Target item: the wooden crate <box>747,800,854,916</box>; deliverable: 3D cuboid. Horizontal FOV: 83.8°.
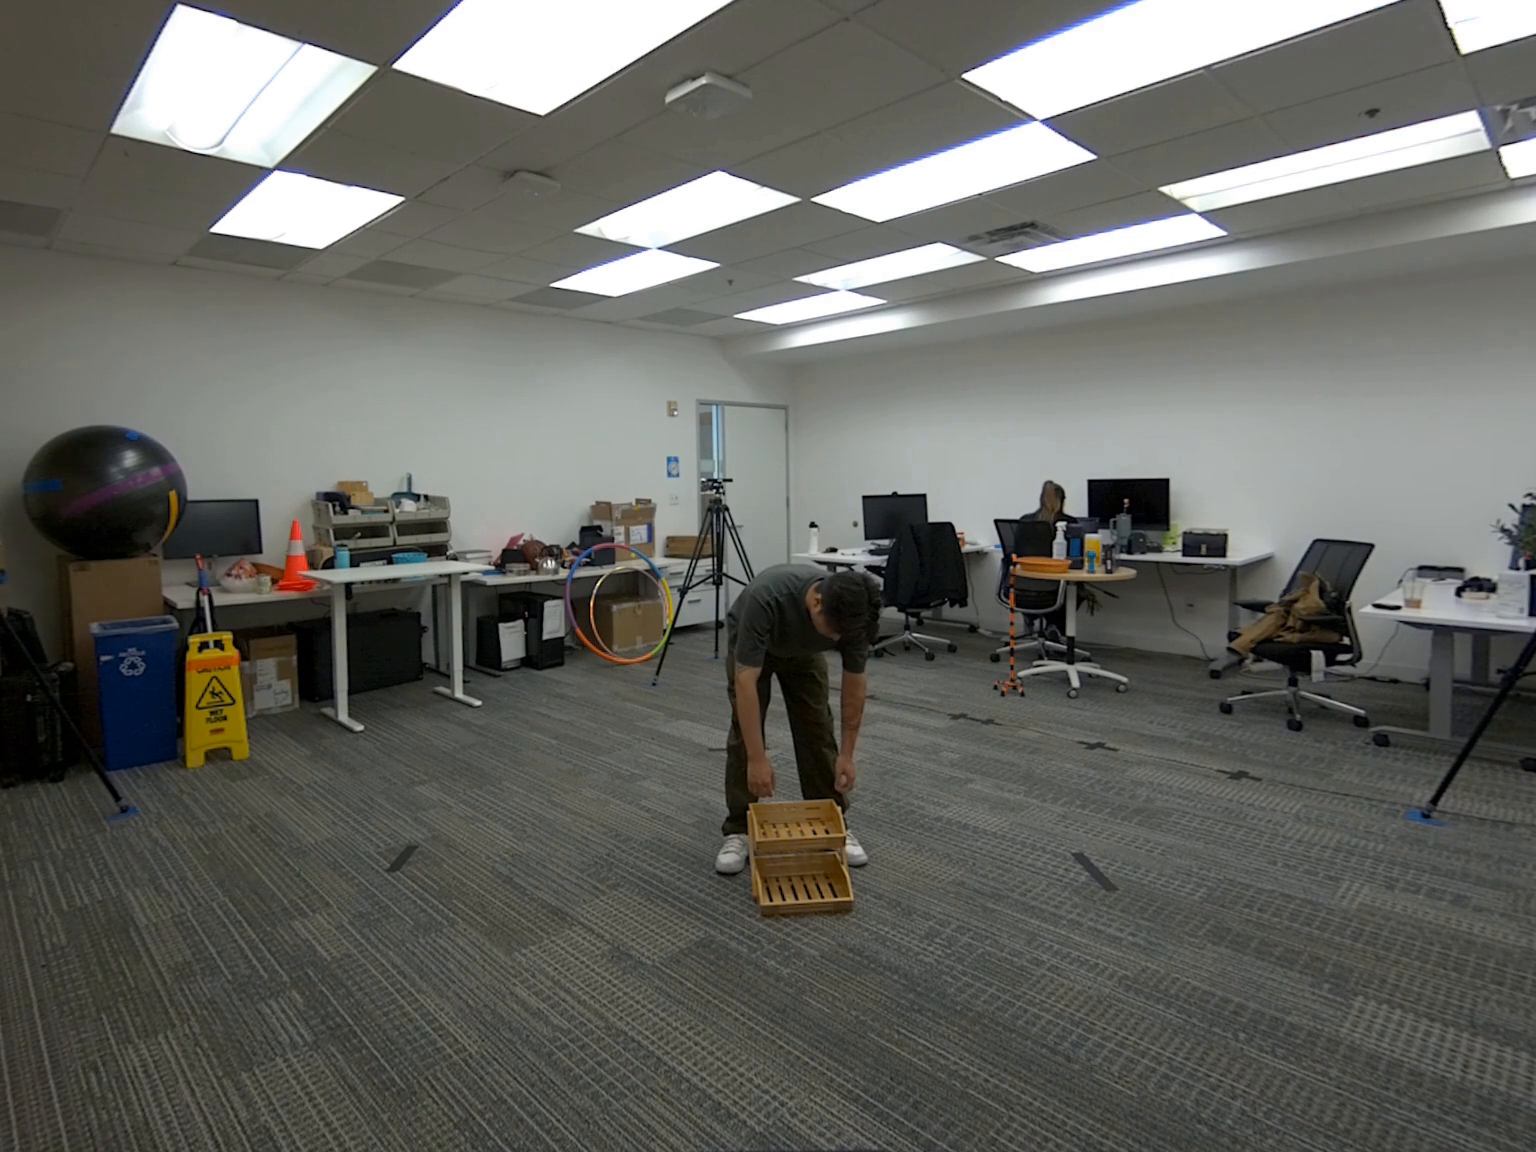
[{"bbox_3d":[0.104,0.944,2.856,0.323,0.272,0.305,-2,6,-6],"label":"wooden crate"}]
